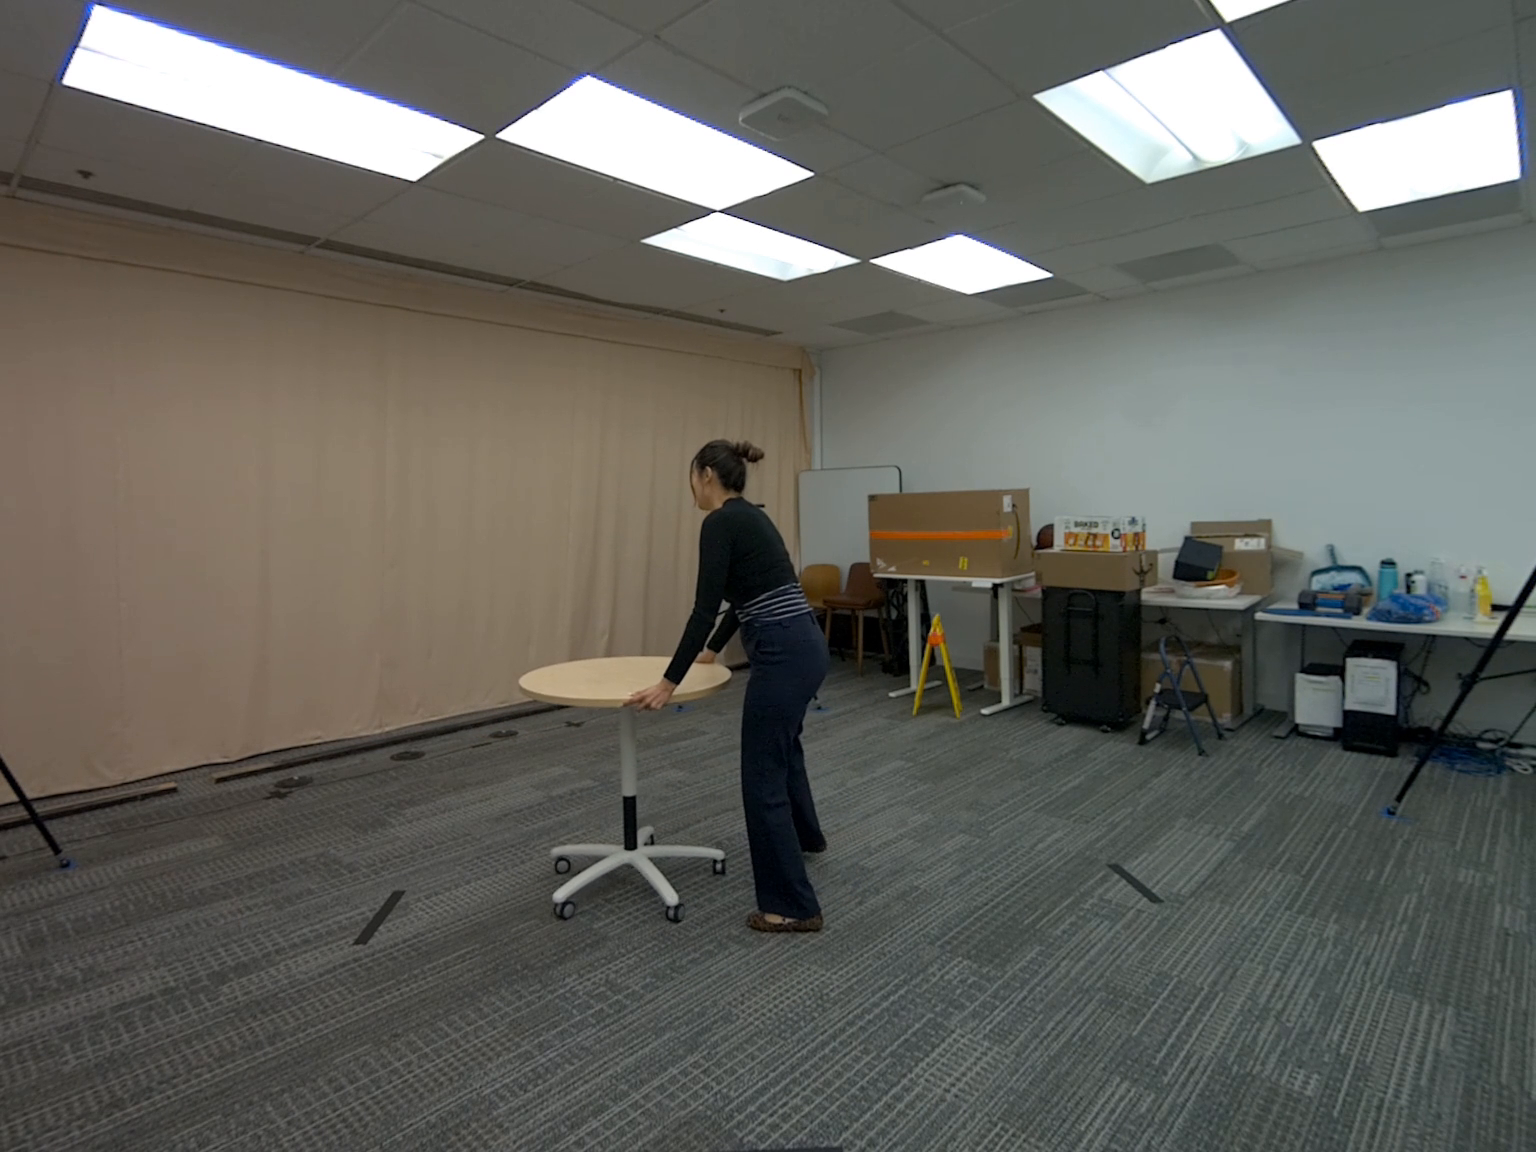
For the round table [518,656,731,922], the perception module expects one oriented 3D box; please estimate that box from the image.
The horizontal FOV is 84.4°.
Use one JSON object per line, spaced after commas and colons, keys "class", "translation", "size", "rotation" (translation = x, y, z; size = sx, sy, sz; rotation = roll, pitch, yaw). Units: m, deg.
{"class": "round table", "translation": [-0.502, 0.754, 3.082], "size": [0.763, 0.792, 0.766], "rotation": [-2, 3, -2]}
